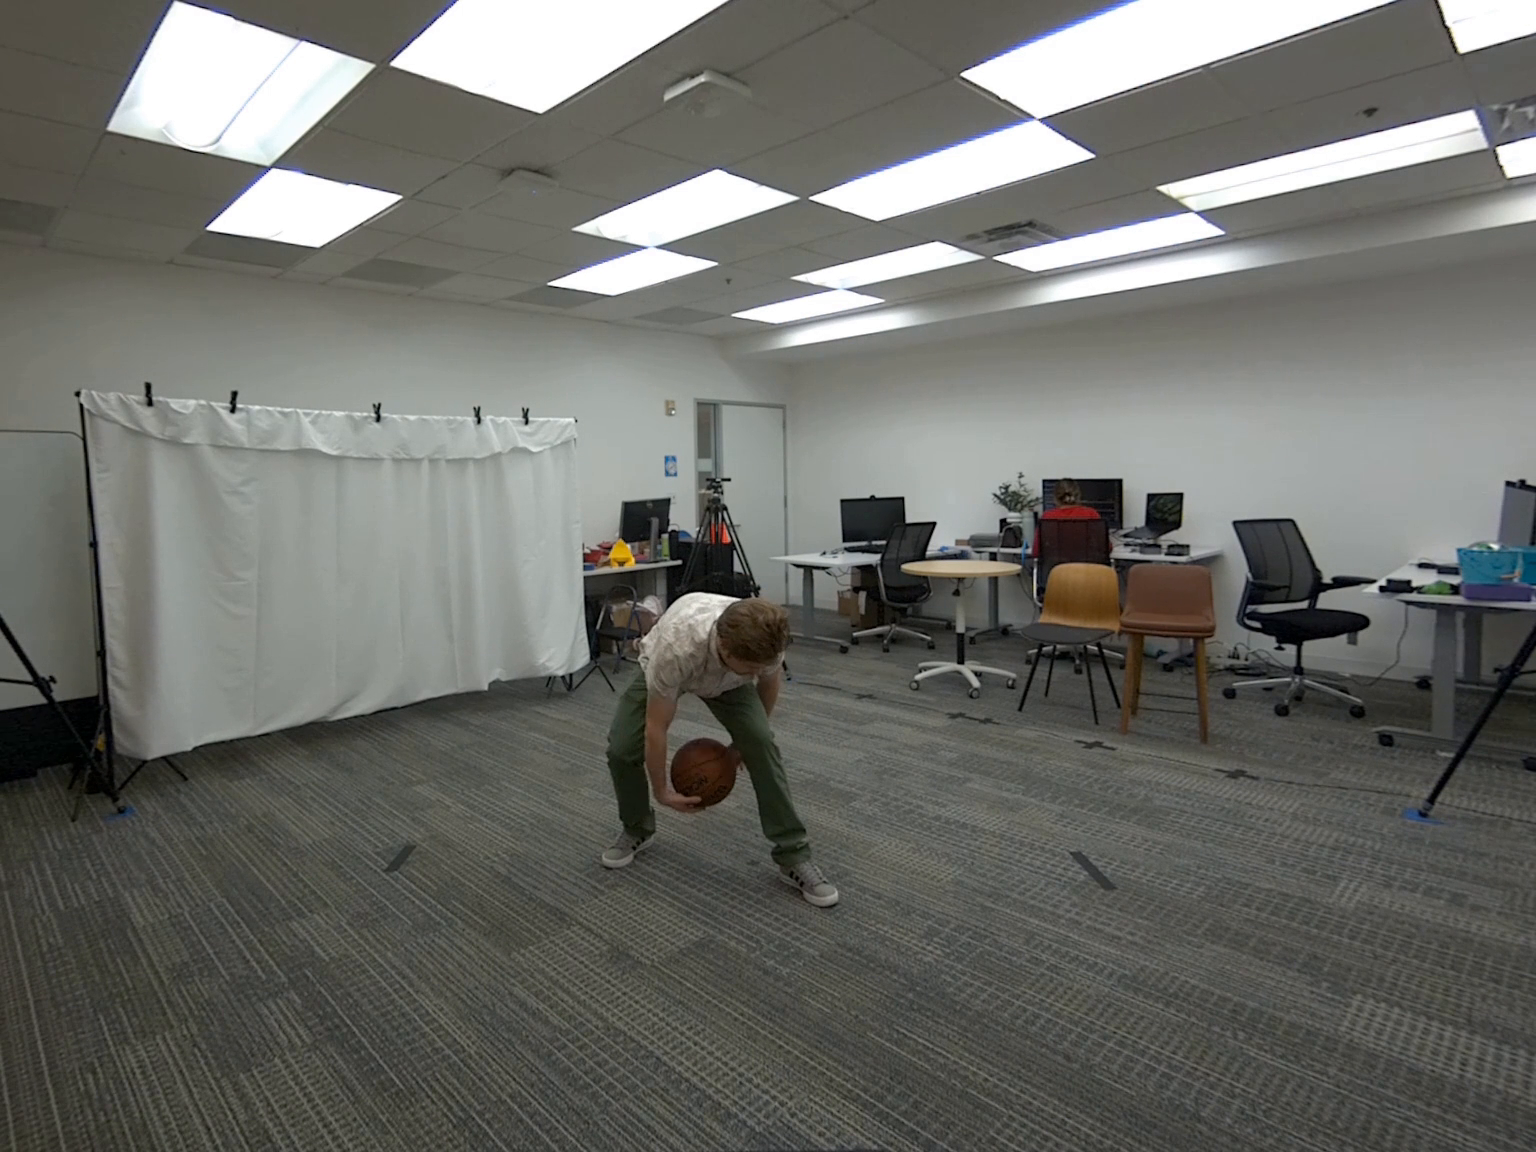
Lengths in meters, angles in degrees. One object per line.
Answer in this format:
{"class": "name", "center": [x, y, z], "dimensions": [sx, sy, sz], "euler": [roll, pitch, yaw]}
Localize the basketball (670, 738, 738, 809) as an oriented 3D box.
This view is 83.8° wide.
{"class": "basketball", "center": [-0.225, 0.696, 3.049], "dimensions": [0.236, 0.235, 0.237], "euler": [-1, 5, -2]}
